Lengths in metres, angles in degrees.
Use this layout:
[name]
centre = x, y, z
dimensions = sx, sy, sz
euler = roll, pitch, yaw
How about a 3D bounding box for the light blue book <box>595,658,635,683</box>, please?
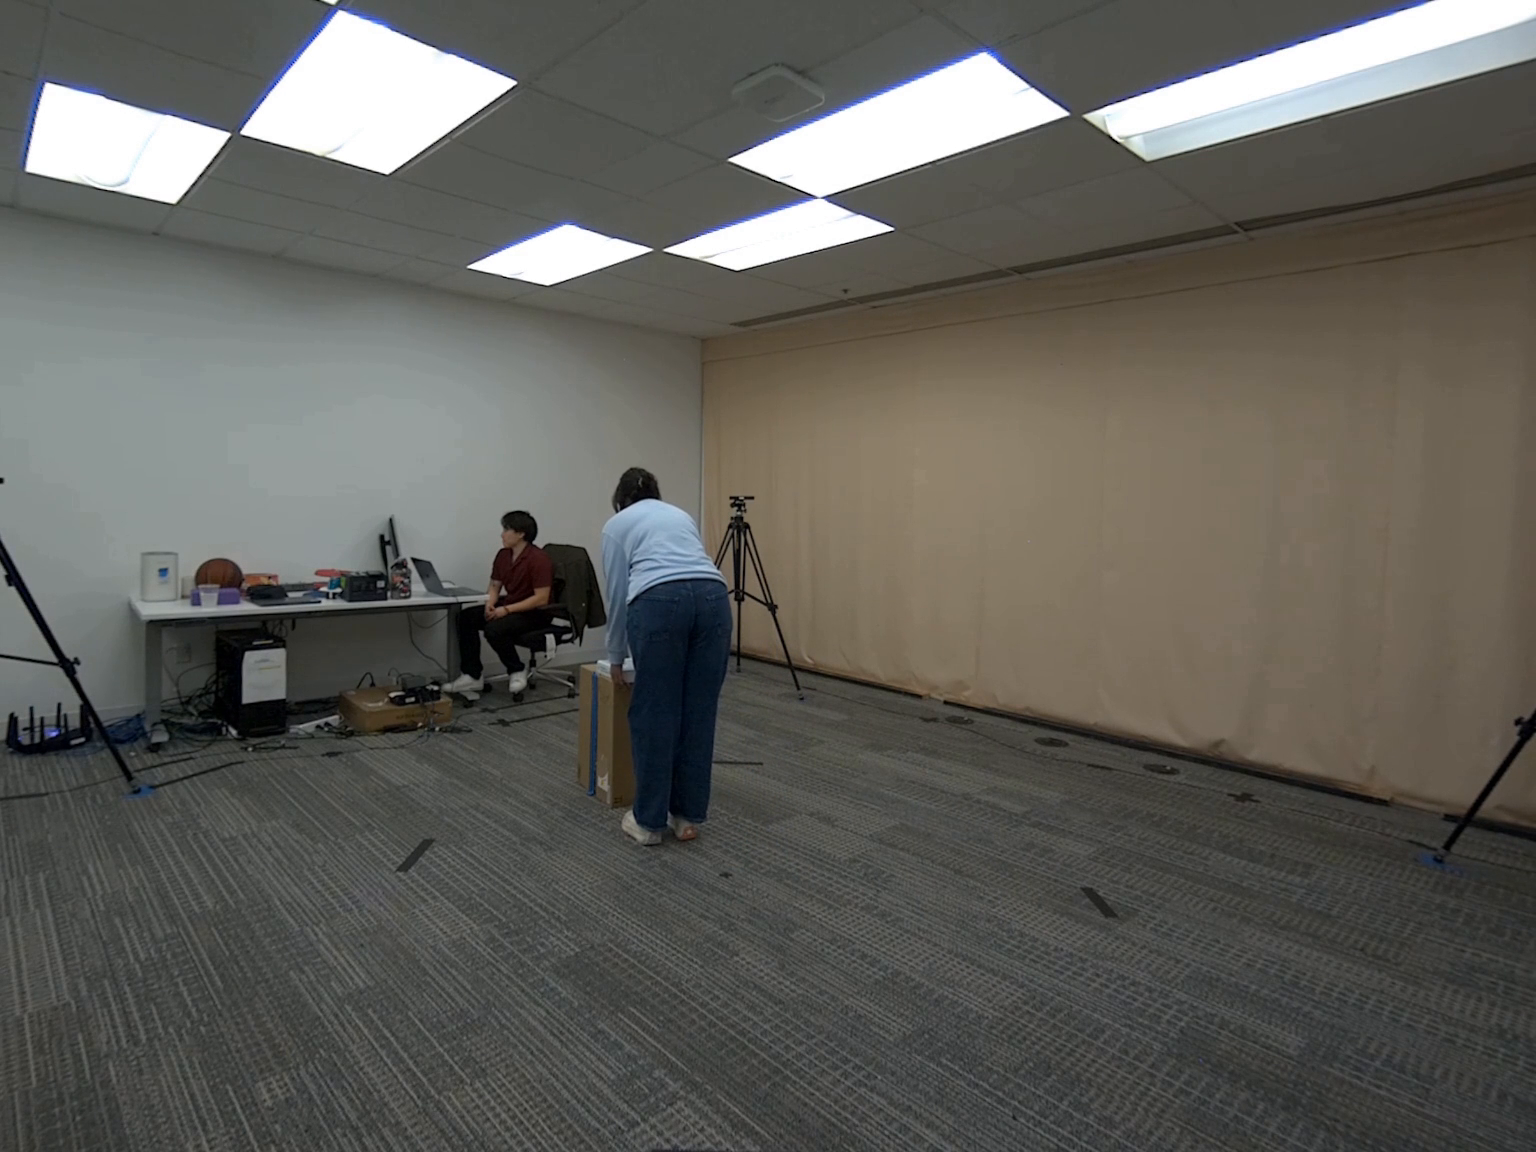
[light blue book]
centre = -0.646, 0.430, 3.856
dimensions = 0.187, 0.059, 0.267
euler = 0, 5, -35
